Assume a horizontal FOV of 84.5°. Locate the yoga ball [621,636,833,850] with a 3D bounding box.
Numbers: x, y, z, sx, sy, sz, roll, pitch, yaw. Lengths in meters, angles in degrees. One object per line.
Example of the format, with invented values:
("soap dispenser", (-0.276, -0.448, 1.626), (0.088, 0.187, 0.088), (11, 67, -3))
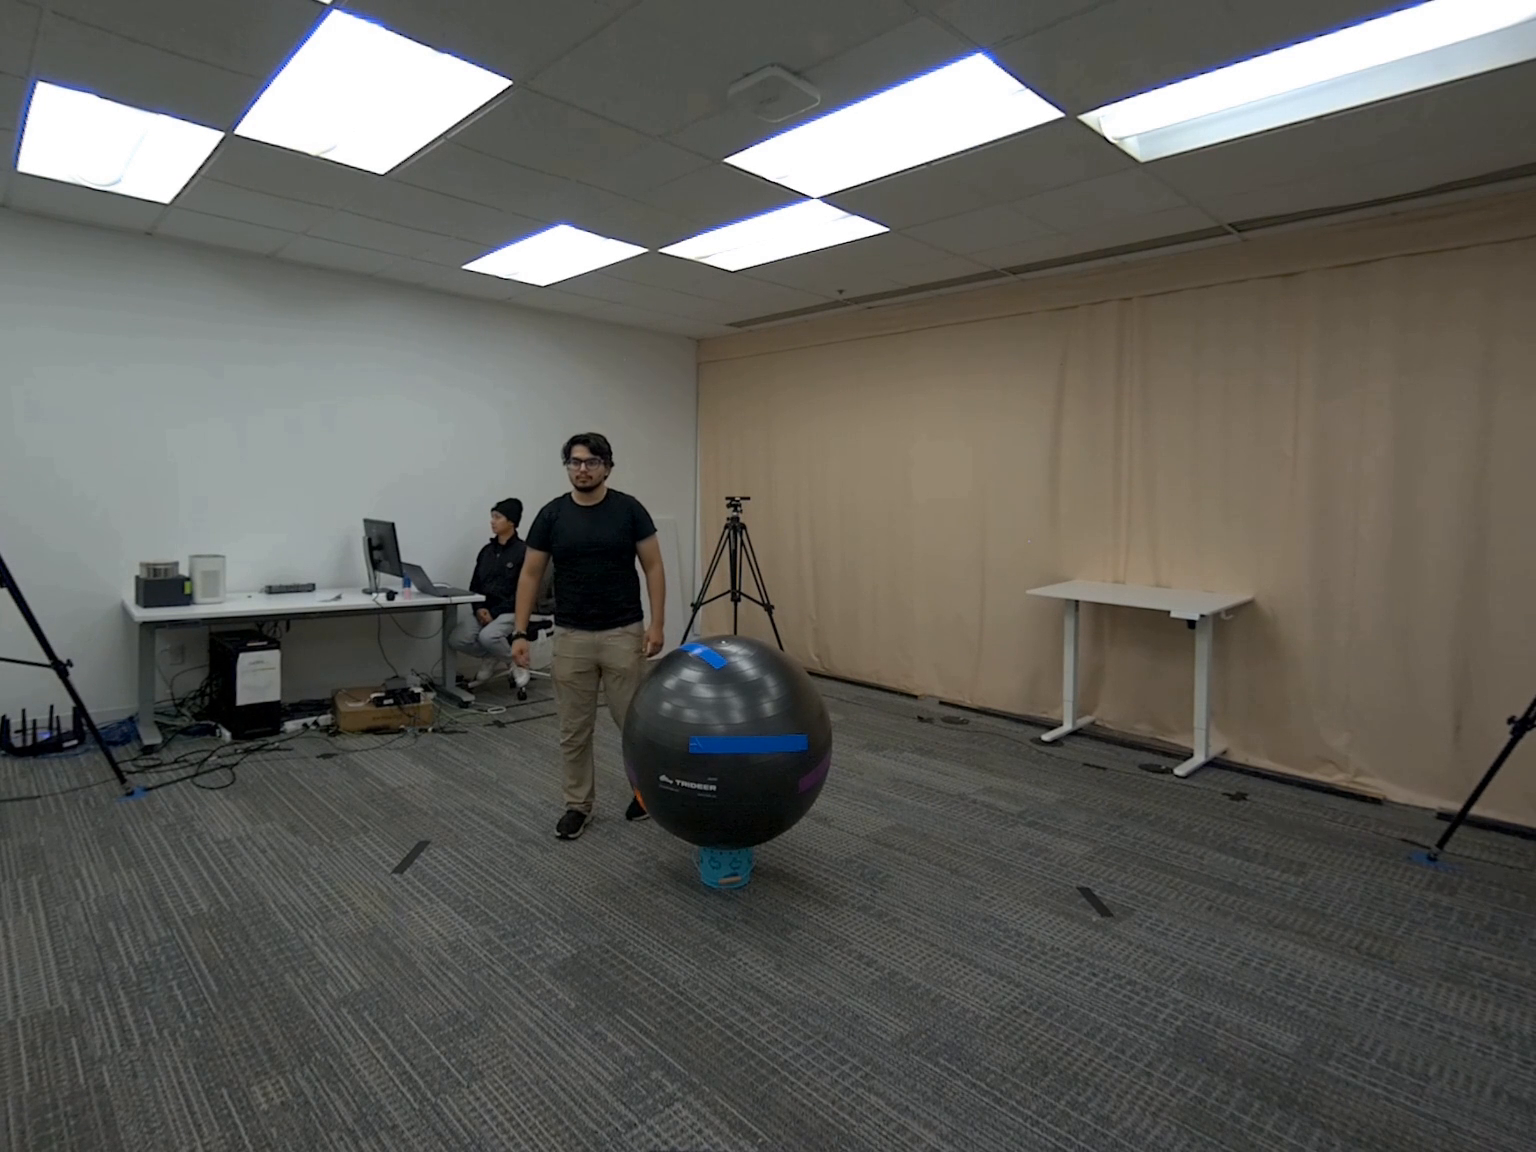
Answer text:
("yoga ball", (-0.151, 0.601, 3.049), (0.757, 0.756, 0.760), (1, 4, -1))
